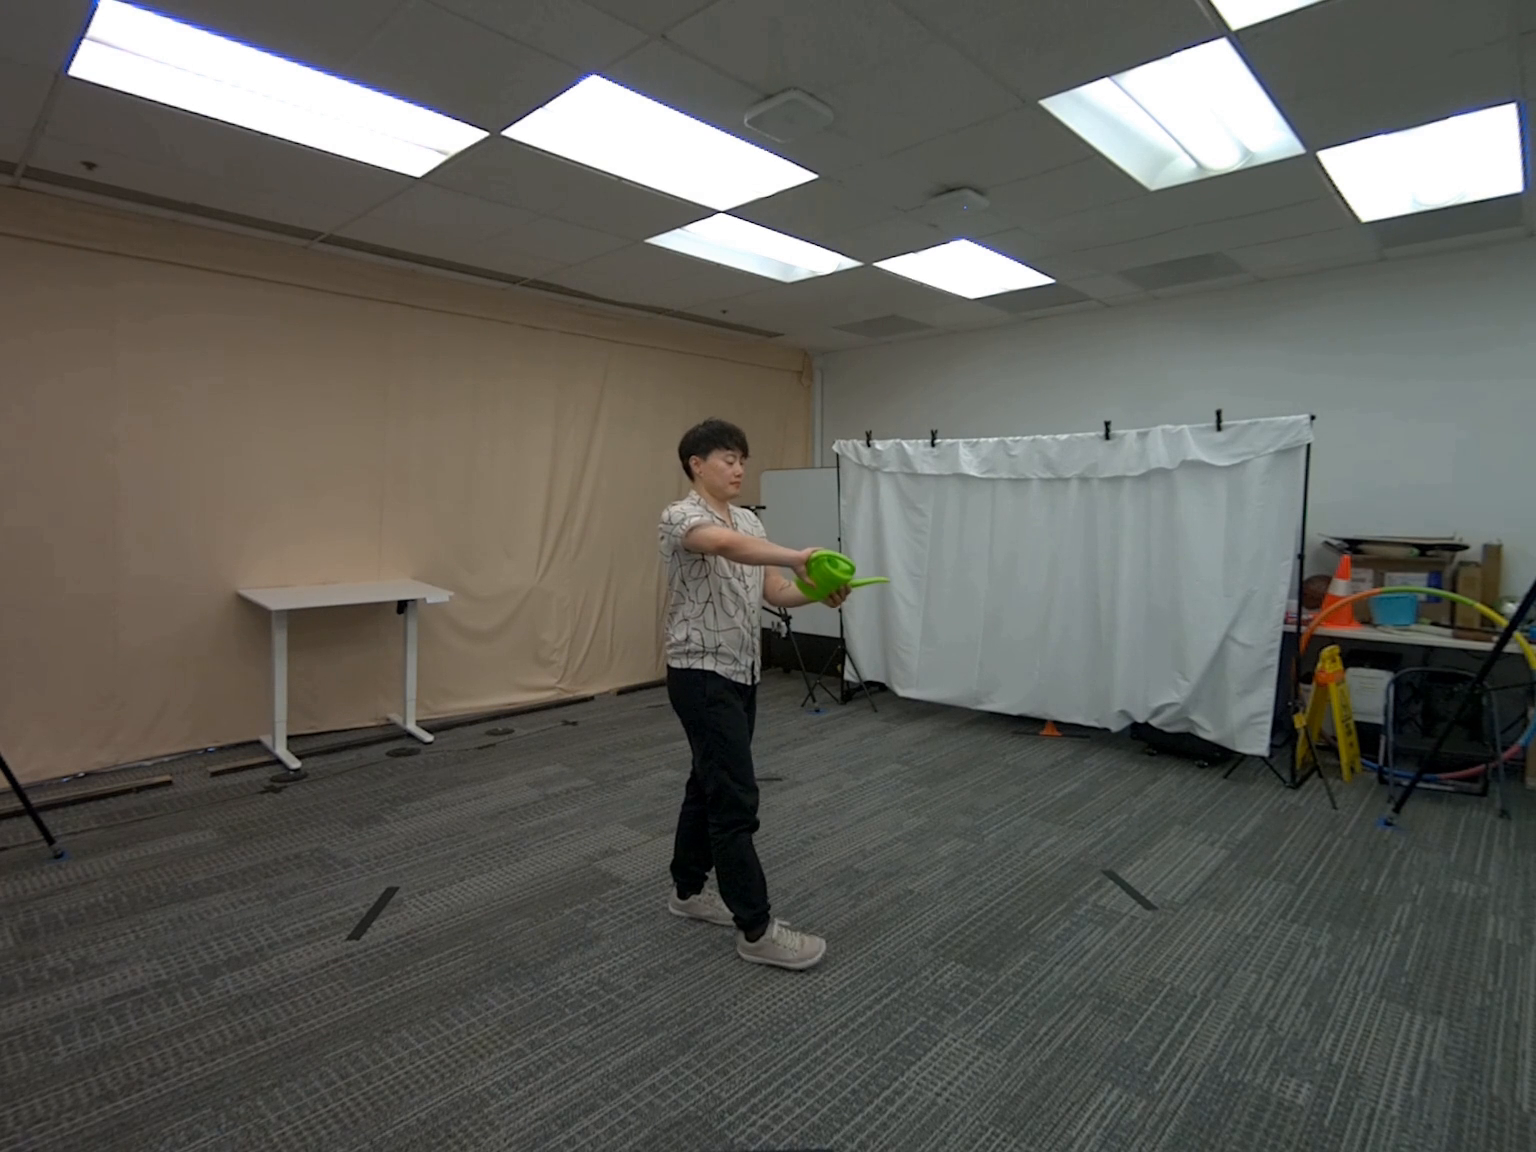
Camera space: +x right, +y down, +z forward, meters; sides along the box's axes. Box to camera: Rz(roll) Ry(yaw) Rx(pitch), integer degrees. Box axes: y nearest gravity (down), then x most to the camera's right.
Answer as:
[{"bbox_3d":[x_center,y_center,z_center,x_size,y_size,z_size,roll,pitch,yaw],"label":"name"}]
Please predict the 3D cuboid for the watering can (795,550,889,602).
[{"bbox_3d":[0.221,0.017,2.571,0.272,0.099,0.179,33,-42,-18],"label":"watering can"}]
